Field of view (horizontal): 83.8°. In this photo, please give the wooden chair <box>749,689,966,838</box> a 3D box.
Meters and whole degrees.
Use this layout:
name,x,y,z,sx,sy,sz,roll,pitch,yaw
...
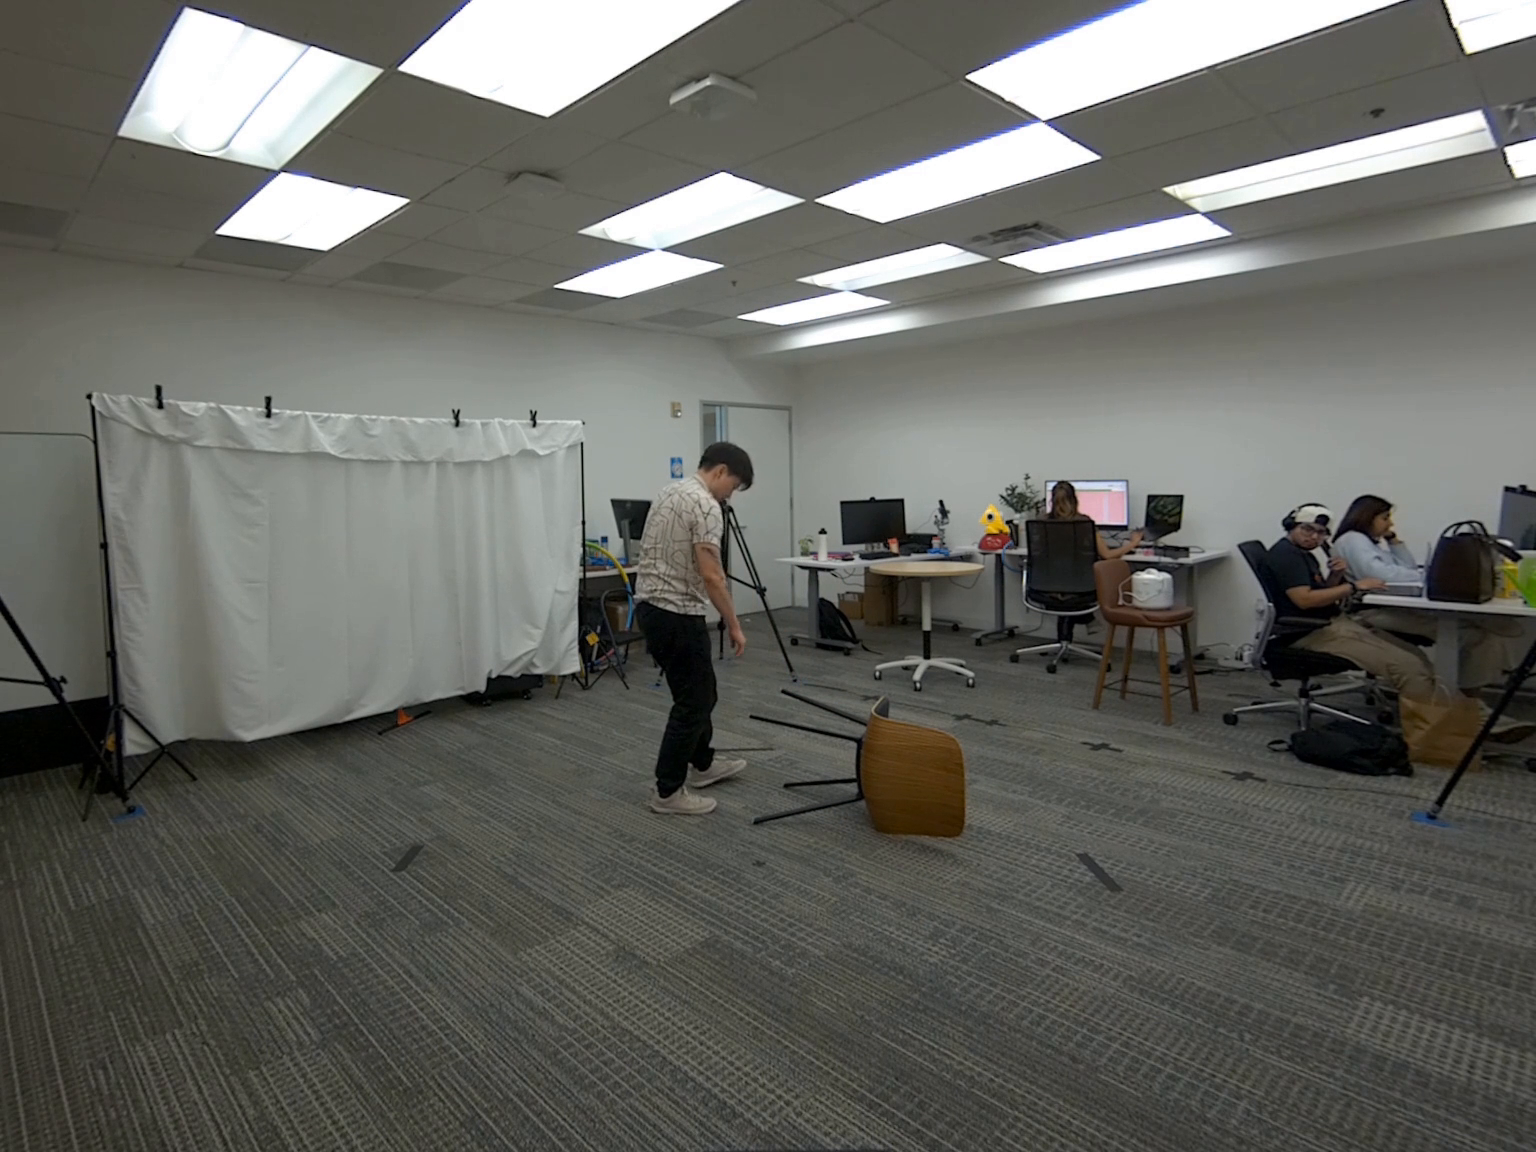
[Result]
name,x,y,z,sx,sy,sz,roll,pitch,yaw
wooden chair,0.414,0.766,3.523,0.897,0.476,0.513,0,5,24
